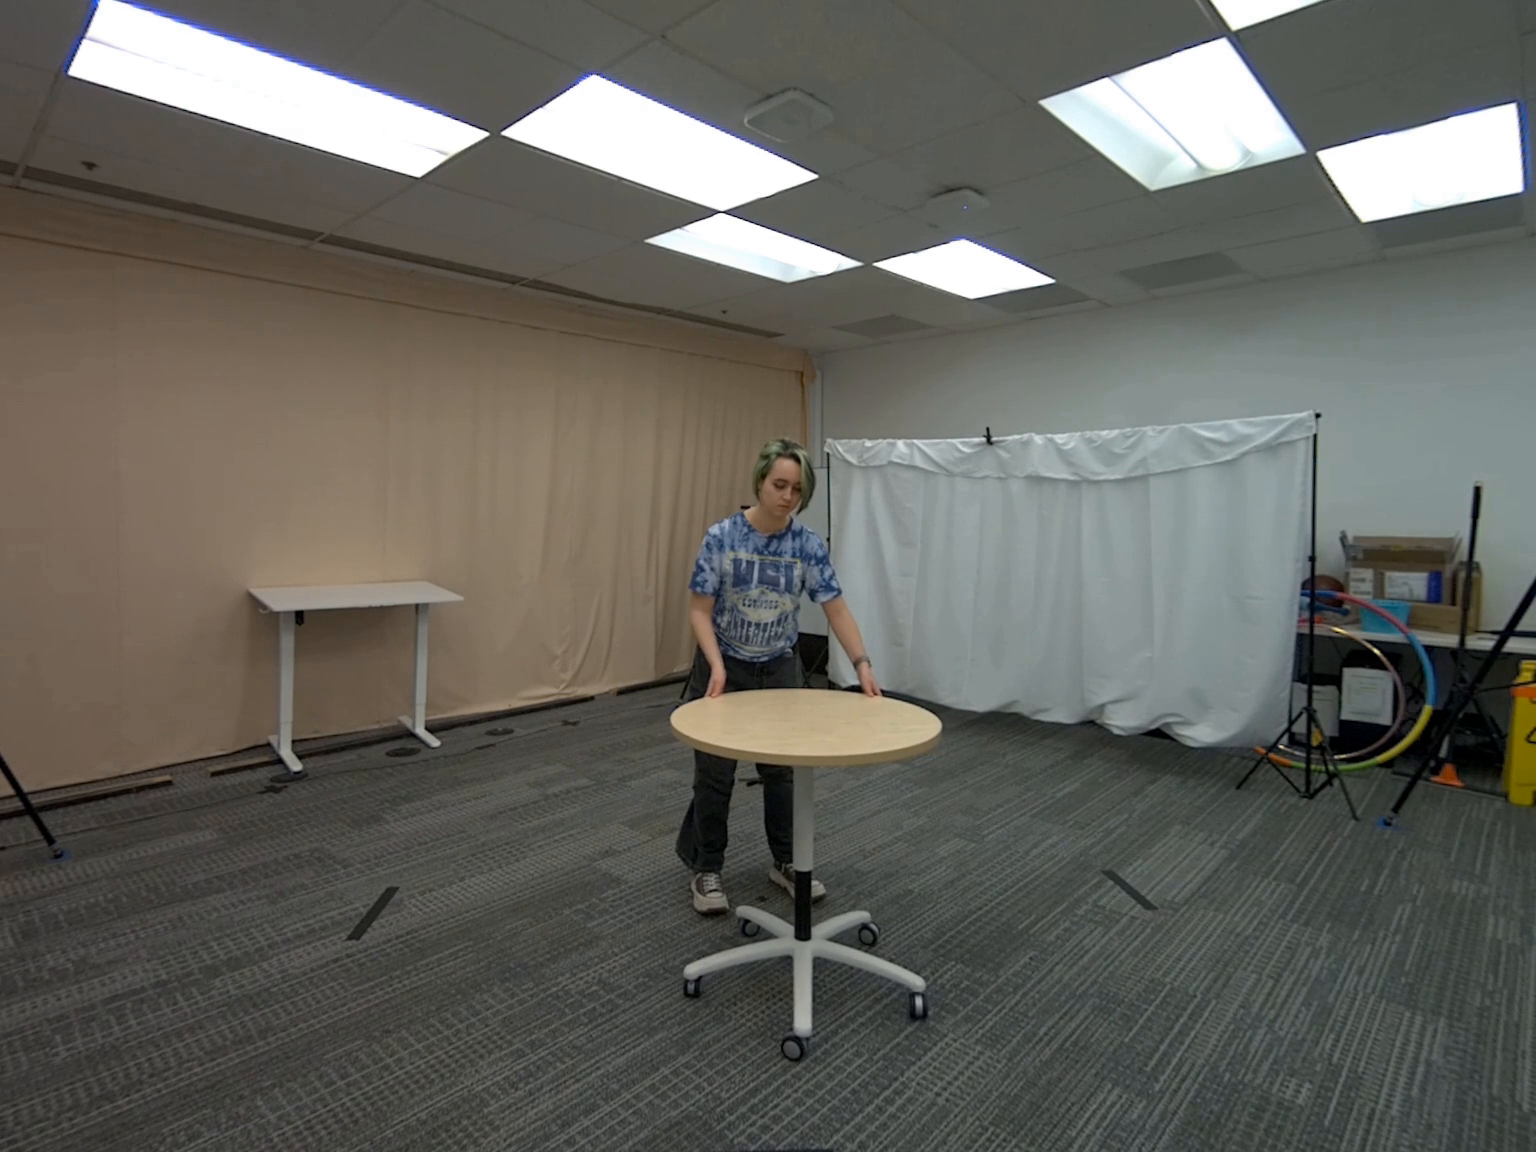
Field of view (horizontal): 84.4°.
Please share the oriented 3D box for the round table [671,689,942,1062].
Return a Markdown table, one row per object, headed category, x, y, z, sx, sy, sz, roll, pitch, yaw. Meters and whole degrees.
| category | x | y | z | sx | sy | sz | roll | pitch | yaw |
| --- | --- | --- | --- | --- | --- | --- | --- | --- | --- |
| round table | 0.105 | 0.800 | 2.431 | 0.763 | 0.792 | 0.766 | 0 | 4 | -2 |
